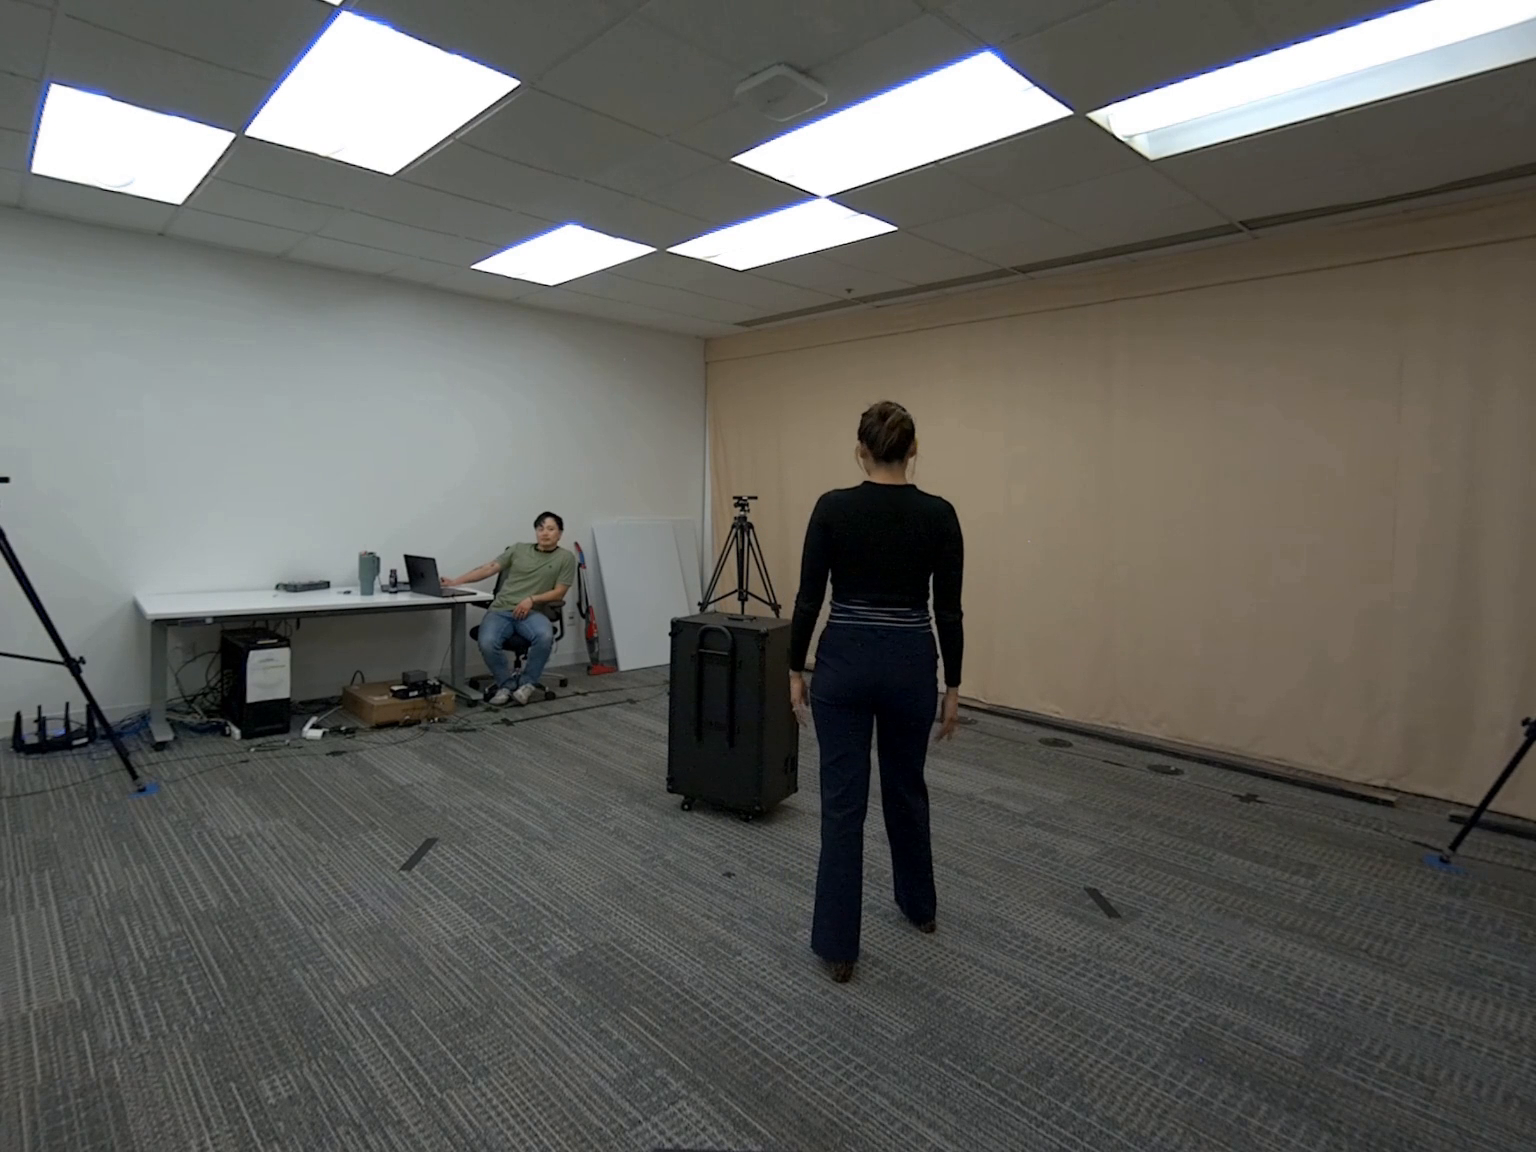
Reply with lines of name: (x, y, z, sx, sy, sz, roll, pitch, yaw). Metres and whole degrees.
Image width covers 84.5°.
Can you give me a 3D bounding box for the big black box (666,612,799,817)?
big black box: (-0.157, 0.619, 3.761, 0.532, 0.859, 0.389, 4, 5, 29)
